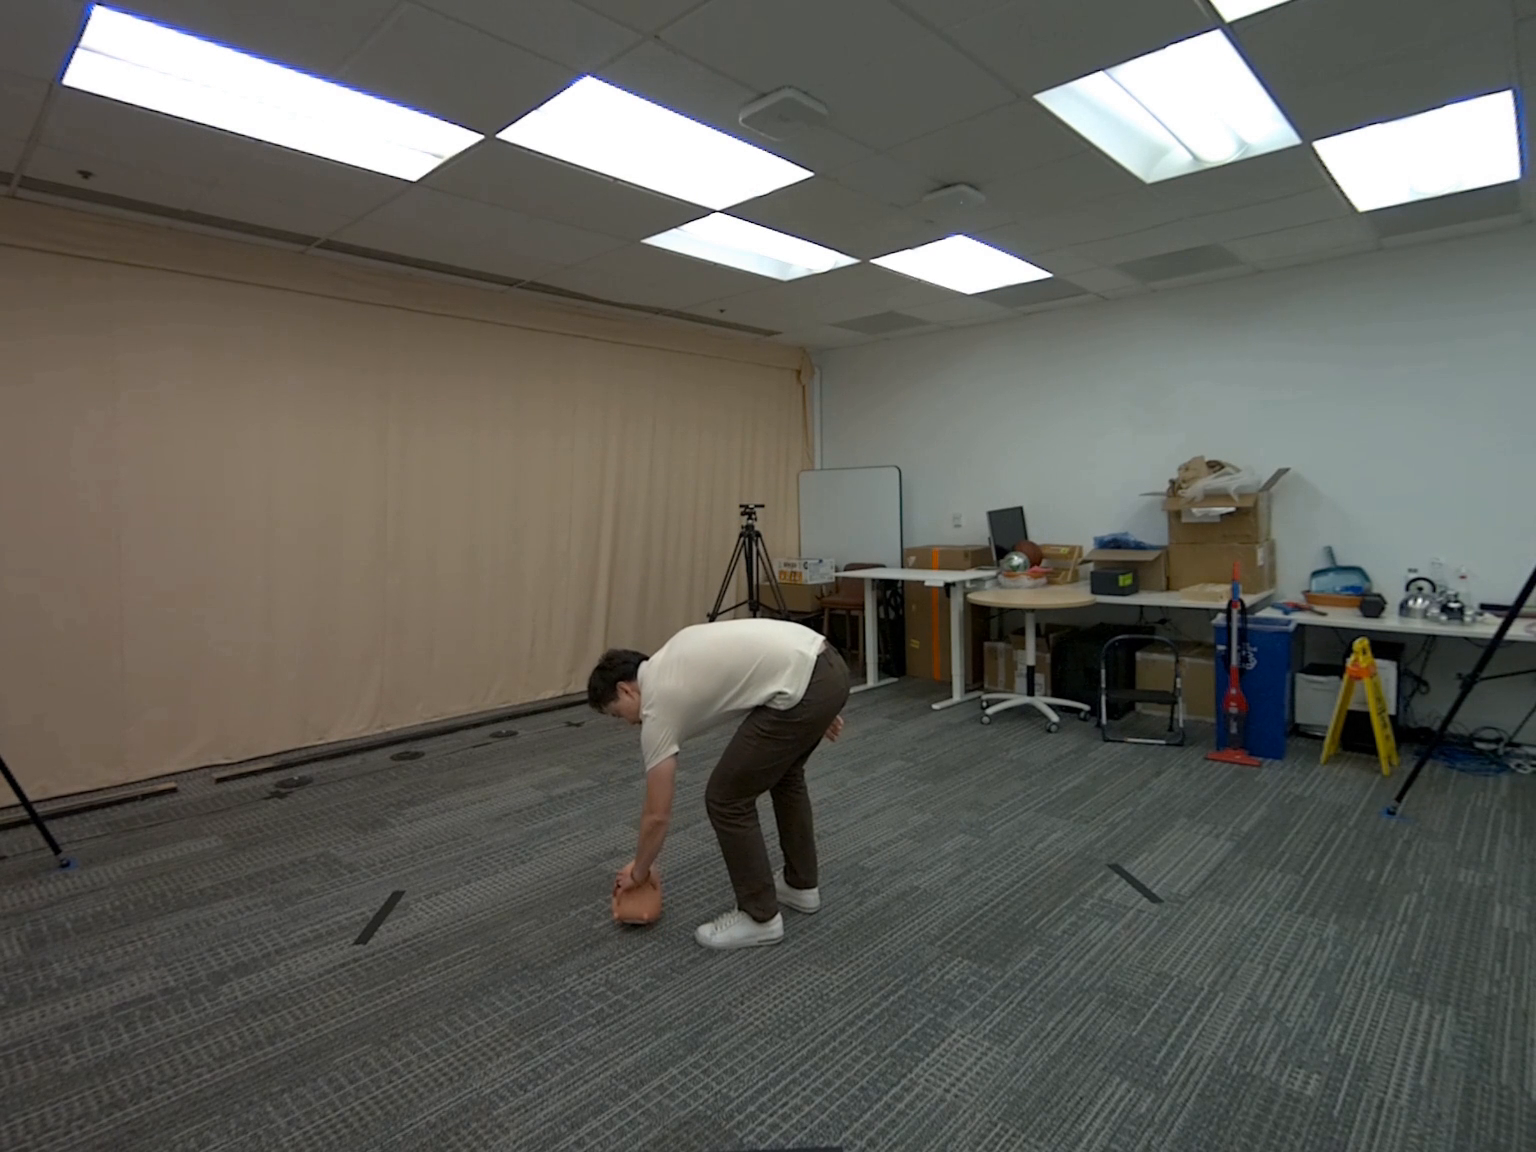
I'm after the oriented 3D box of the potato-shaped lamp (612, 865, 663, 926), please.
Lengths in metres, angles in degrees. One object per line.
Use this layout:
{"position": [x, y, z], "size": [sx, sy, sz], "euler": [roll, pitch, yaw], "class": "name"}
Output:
{"position": [-0.442, 1.063, 2.813], "size": [0.167, 0.200, 0.167], "euler": [-2, -25, 14], "class": "potato-shaped lamp"}
